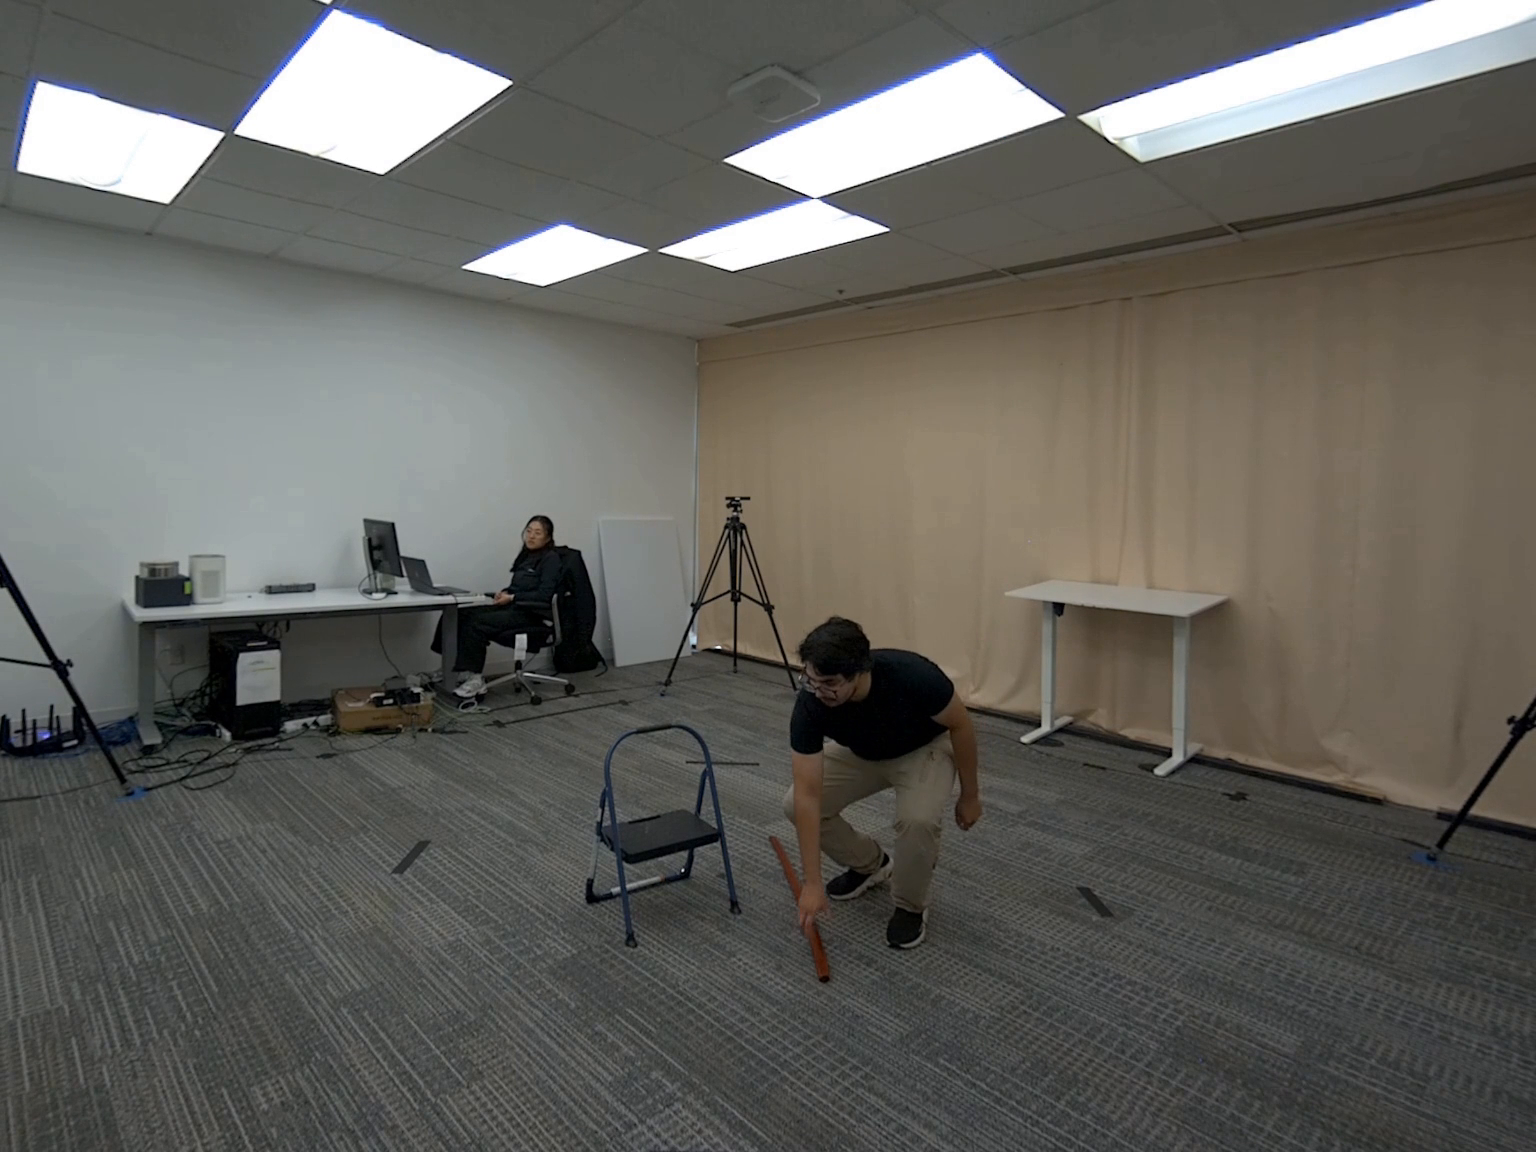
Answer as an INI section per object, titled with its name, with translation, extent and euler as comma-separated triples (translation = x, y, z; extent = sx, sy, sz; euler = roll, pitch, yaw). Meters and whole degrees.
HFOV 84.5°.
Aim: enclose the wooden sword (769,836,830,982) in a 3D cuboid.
[wooden sword]
translation = 0.093, 1.091, 2.932
extent = 0.051, 0.024, 1.031
euler = 14, 1, -8
